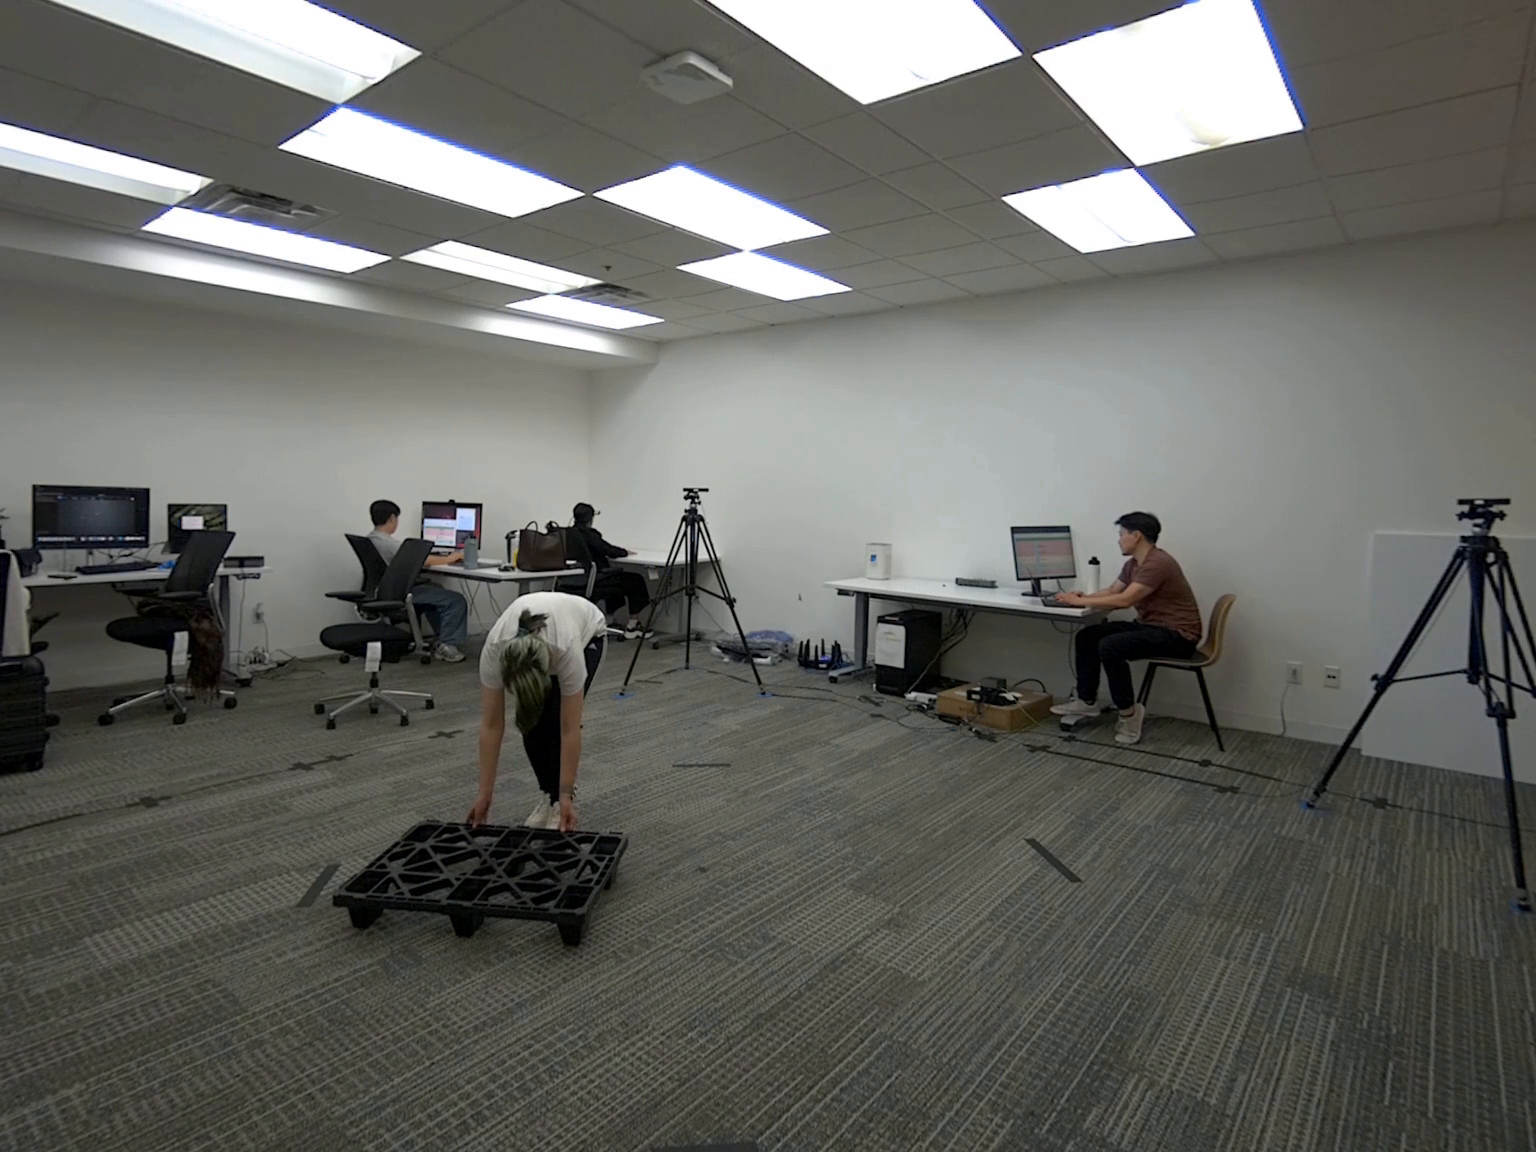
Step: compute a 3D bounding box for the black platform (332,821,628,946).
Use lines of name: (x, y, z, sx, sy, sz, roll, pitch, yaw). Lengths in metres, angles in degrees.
black platform: (-0.926, 1.015, 2.840, 0.811, 0.142, 0.604, 1, 7, 6)
